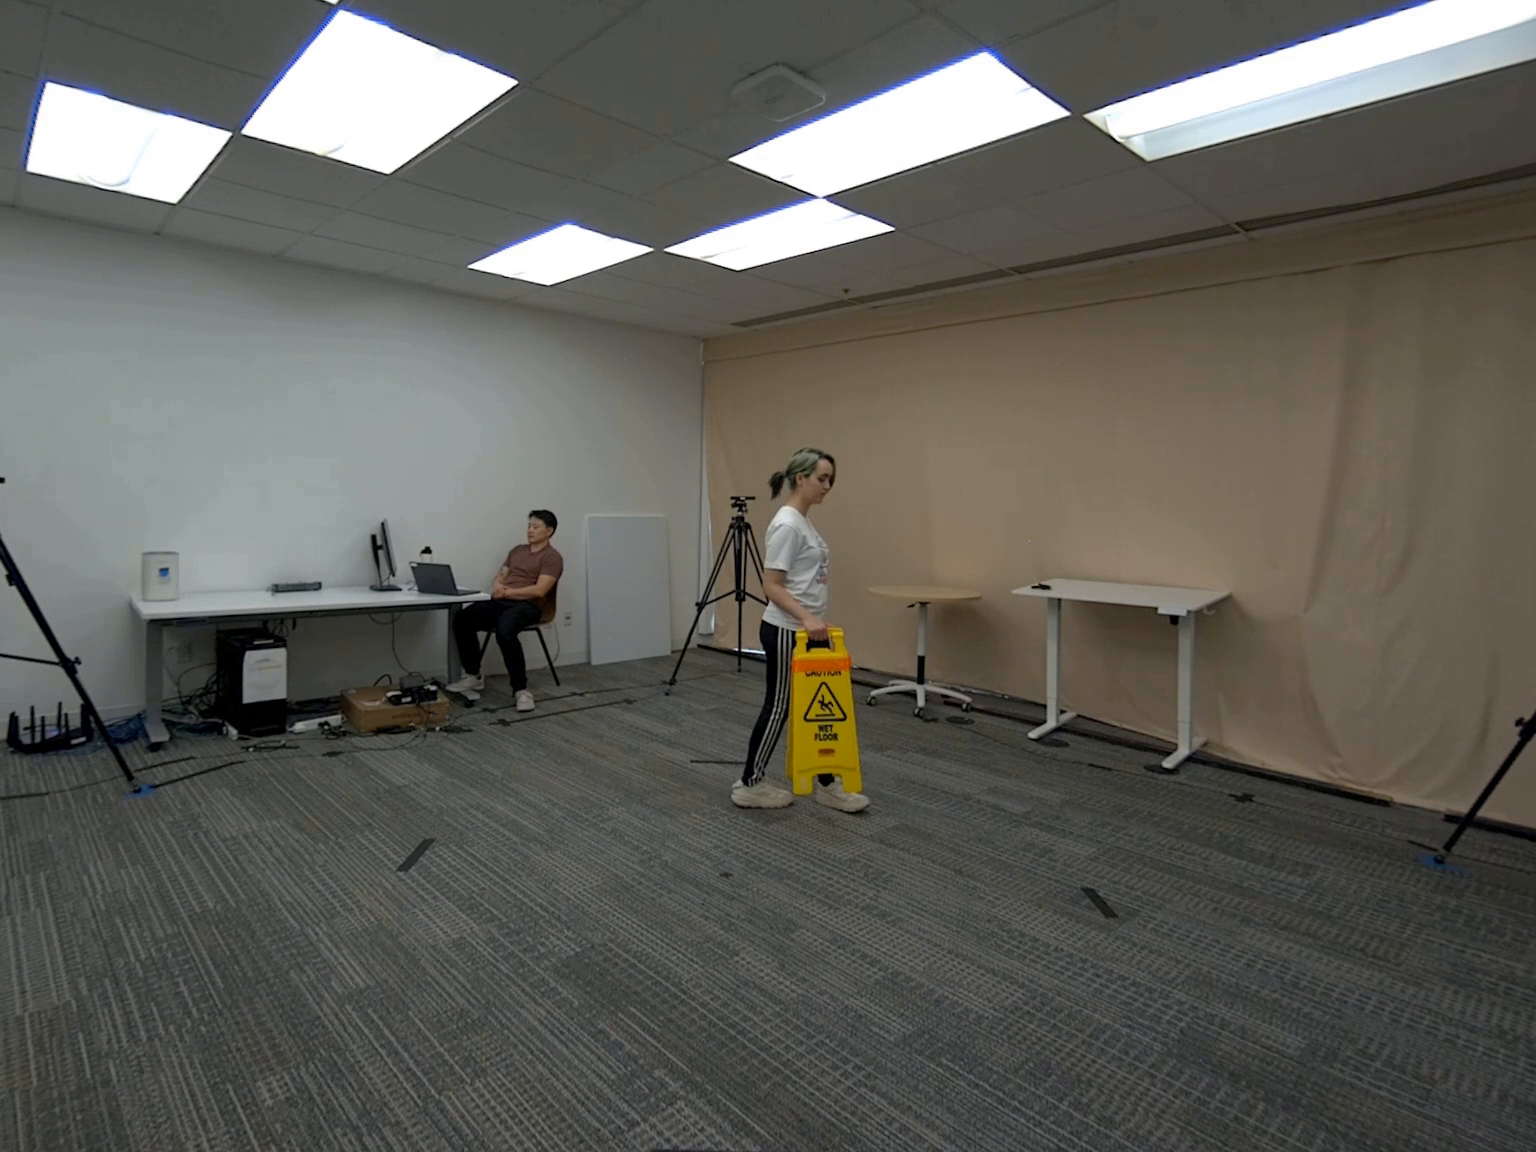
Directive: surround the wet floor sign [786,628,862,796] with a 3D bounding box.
[{"bbox_3d":[0.223,0.549,3.508,0.281,0.645,0.291,-1,2,-7],"label":"wet floor sign"}]
